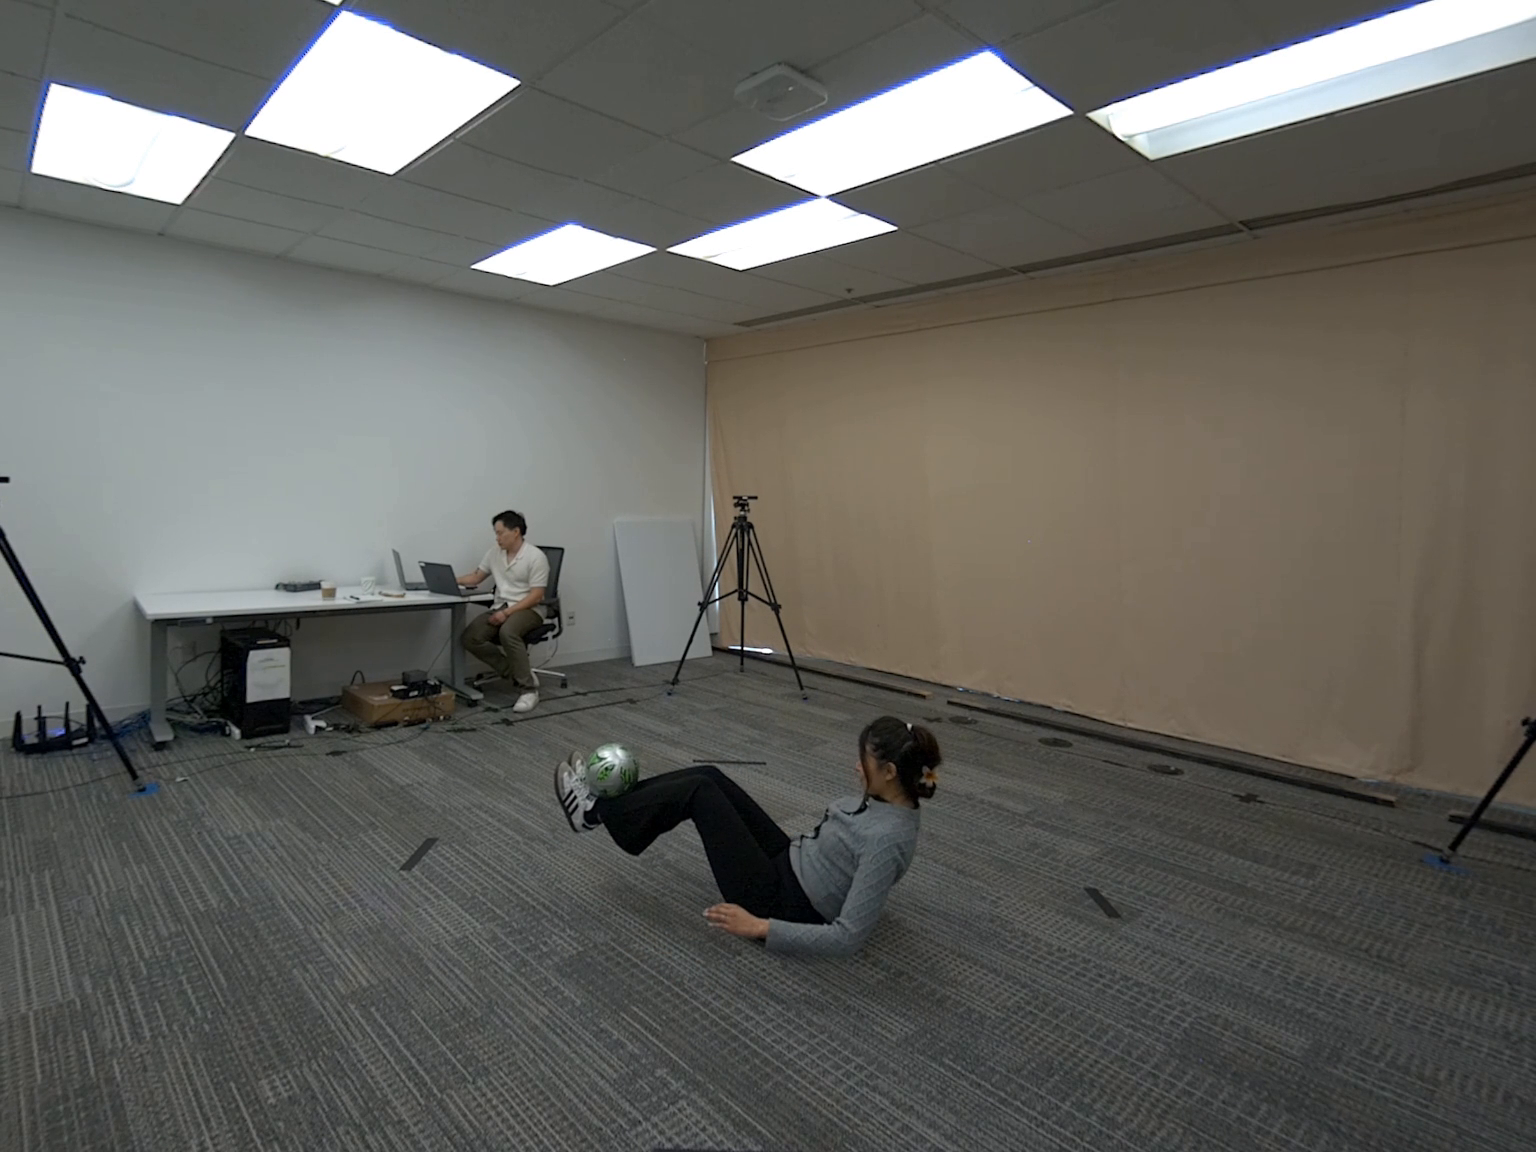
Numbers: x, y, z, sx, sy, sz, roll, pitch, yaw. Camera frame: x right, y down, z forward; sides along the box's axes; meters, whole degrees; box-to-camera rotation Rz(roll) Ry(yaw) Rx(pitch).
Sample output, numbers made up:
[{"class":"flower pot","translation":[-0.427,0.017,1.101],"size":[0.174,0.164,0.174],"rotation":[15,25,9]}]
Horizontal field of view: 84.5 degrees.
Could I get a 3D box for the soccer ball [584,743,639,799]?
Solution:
[{"class":"soccer ball","translation":[-0.545,0.677,2.897],"size":[0.187,0.187,0.188],"rotation":[1,4,-1]}]
